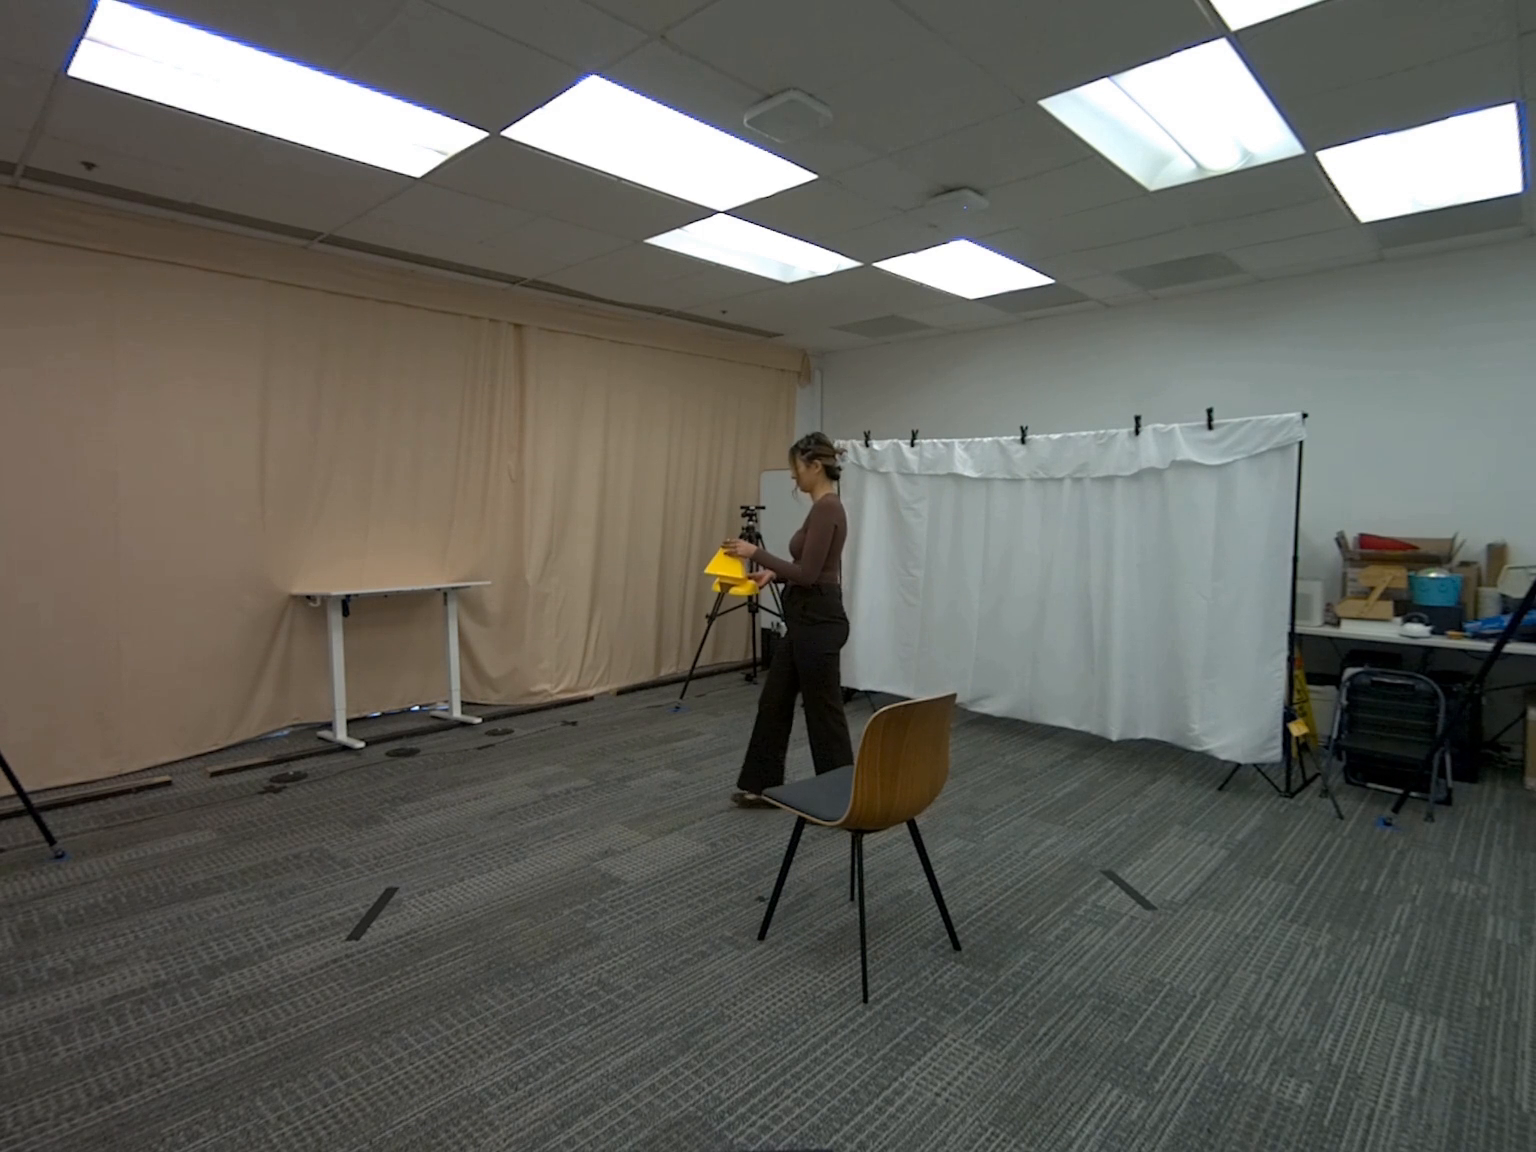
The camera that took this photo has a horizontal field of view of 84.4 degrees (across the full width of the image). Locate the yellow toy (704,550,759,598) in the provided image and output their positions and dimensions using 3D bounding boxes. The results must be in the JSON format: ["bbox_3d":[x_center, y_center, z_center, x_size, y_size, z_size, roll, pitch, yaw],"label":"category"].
[{"bbox_3d":[-0.138,-0.044,3.669,0.211,0.230,0.187,8,7,36],"label":"yellow toy"}]
